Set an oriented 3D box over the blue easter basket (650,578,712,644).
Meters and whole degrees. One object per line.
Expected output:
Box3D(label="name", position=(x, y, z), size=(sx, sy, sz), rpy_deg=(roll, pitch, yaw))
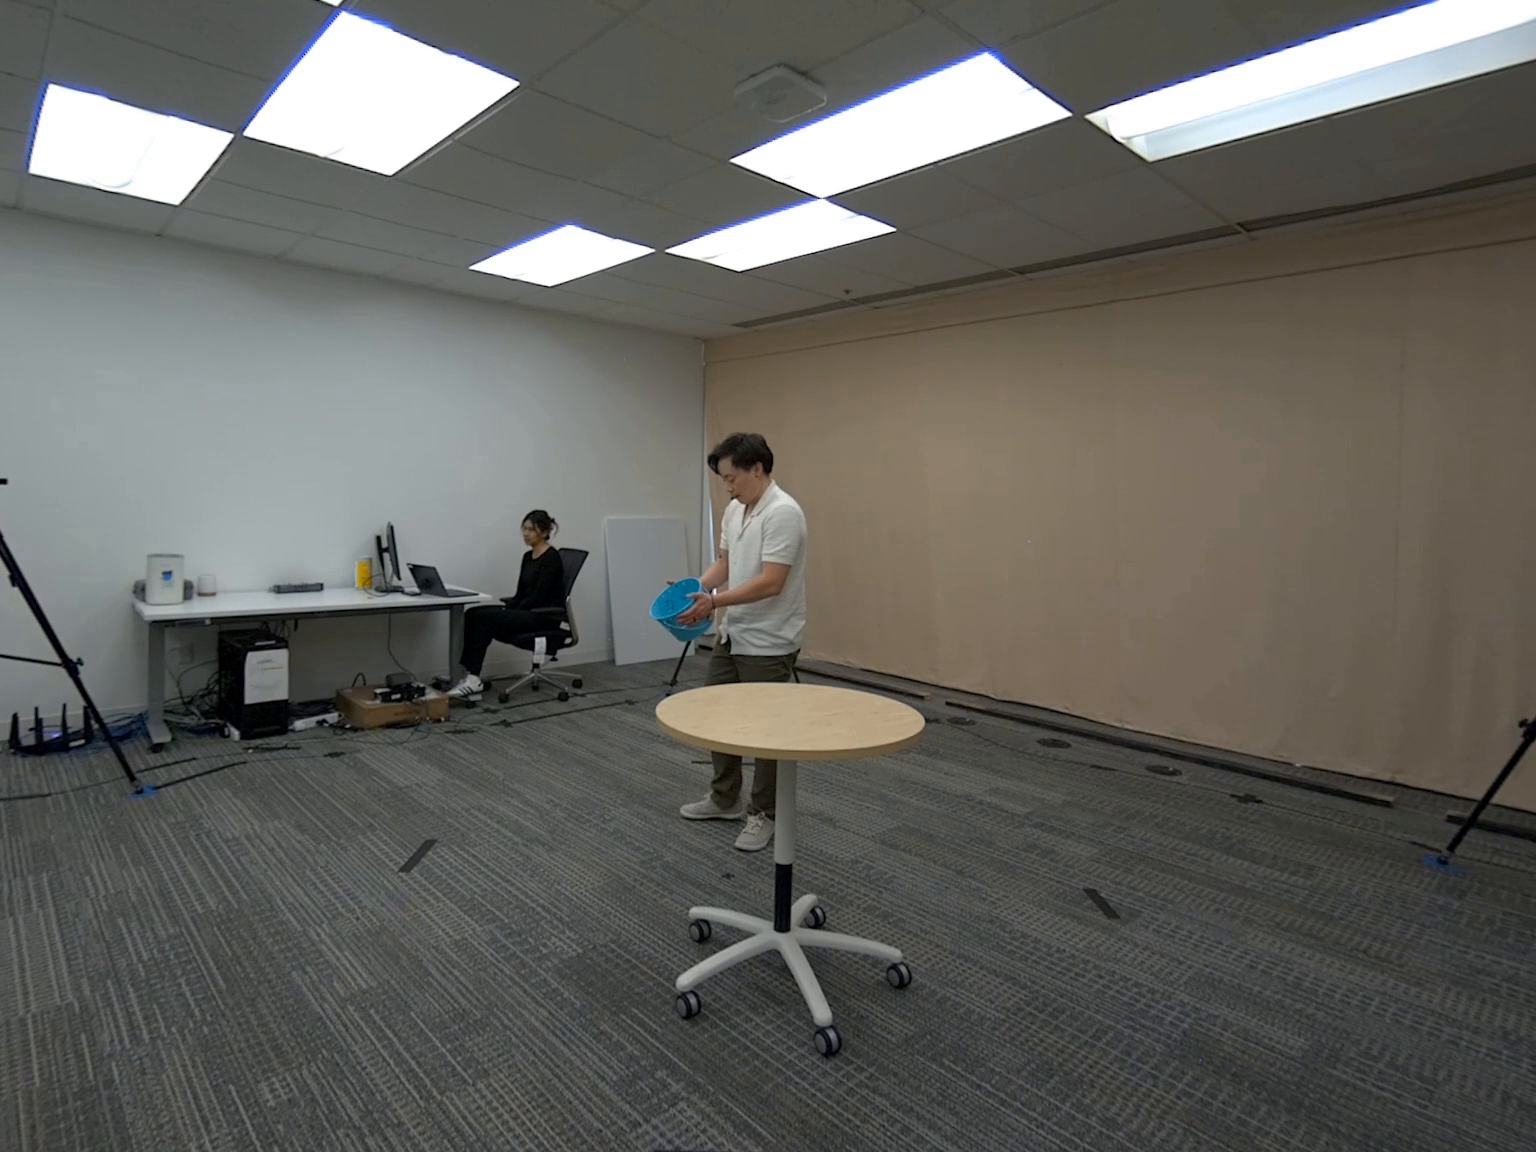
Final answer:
Box3D(label="blue easter basket", position=(-0.324, 0.145, 3.291), size=(0.245, 0.152, 0.248), rpy_deg=(-27, 29, 14))
